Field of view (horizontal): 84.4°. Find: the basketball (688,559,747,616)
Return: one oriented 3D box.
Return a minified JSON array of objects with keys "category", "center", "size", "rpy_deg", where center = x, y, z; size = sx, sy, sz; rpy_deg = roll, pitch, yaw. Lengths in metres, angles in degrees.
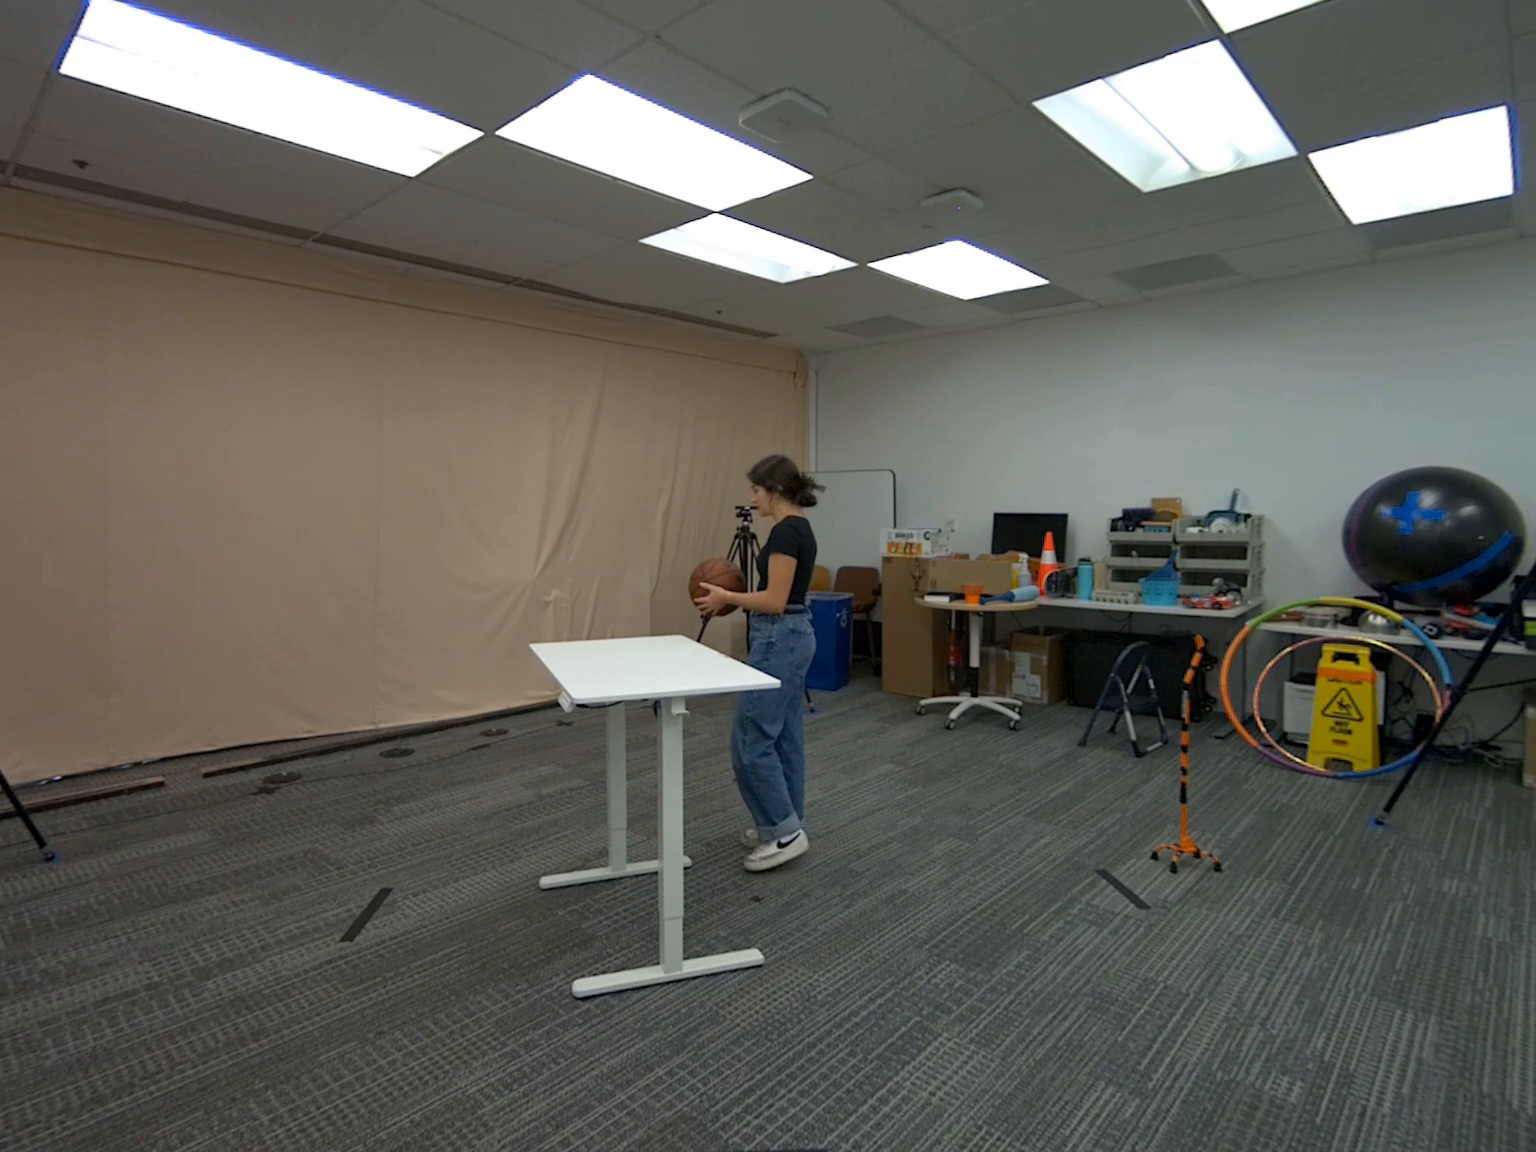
[{"category":"basketball","center":[-0.204,0.046,3.472],"size":[0.236,0.235,0.237],"rpy_deg":[0,4,-2]}]
